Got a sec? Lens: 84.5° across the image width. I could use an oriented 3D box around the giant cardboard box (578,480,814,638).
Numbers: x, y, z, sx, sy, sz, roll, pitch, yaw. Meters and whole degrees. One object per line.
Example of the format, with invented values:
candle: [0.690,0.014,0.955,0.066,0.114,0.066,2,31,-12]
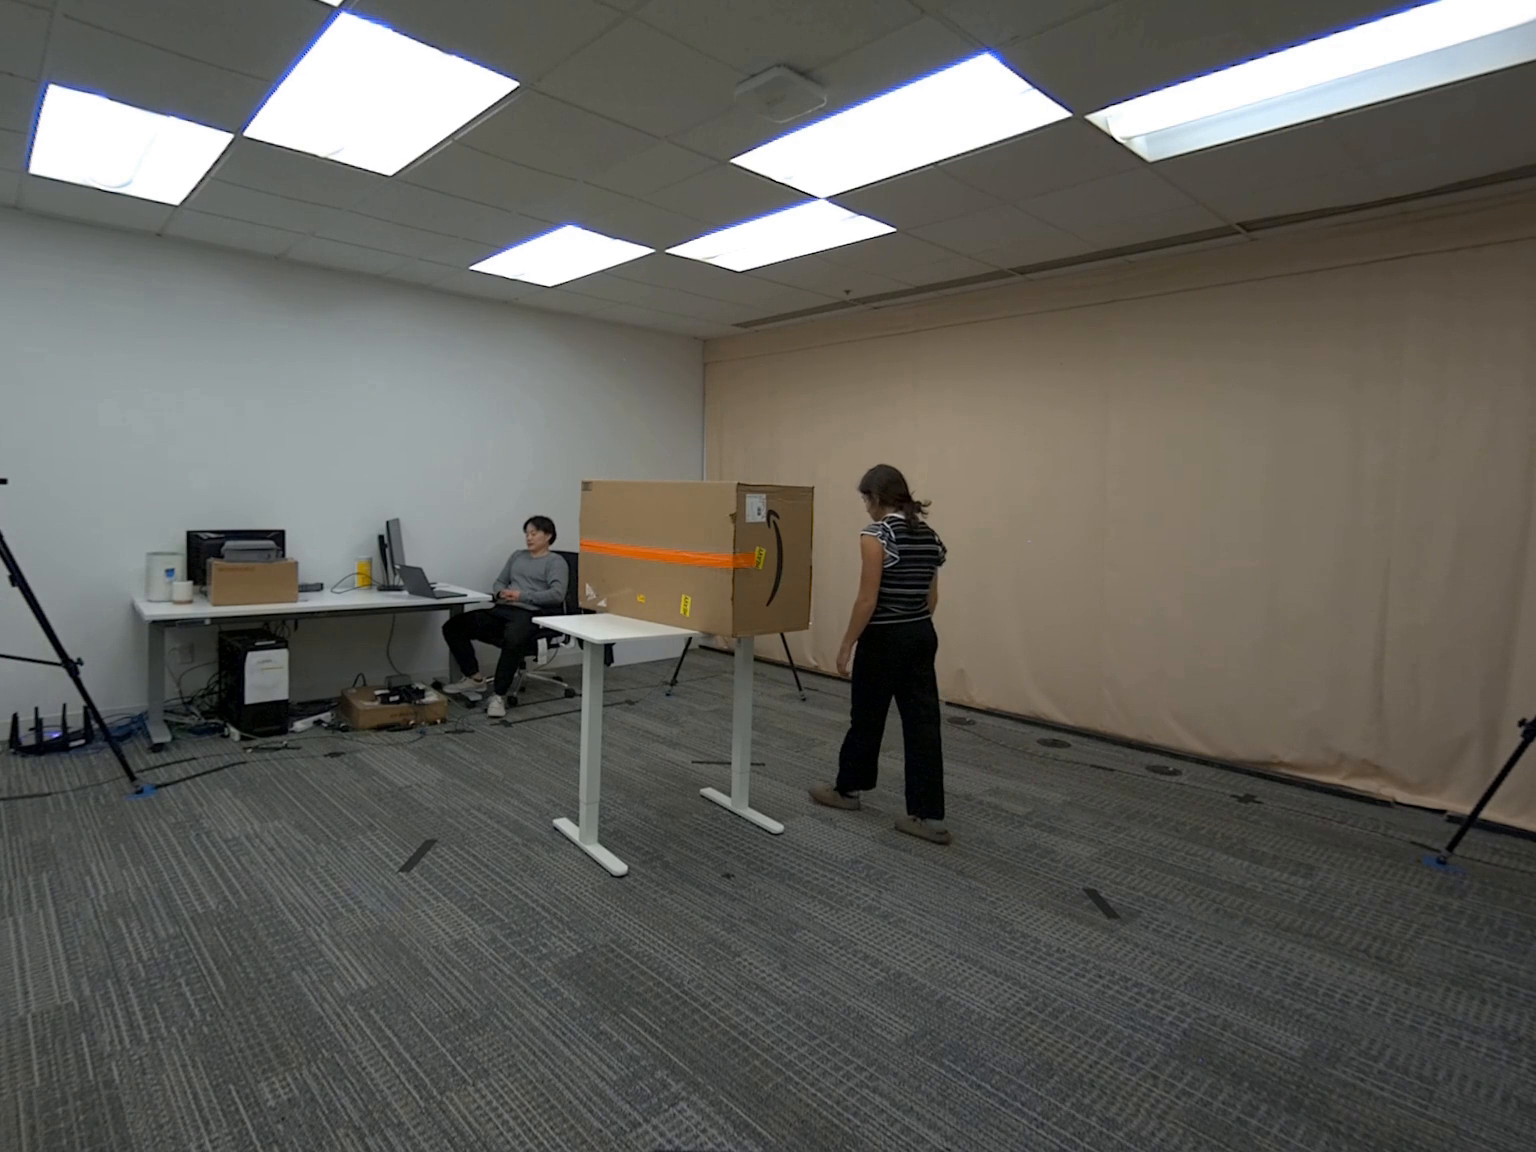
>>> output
giant cardboard box: [-0.345,-0.108,3.560,0.416,0.576,1.052,-2,6,-45]
